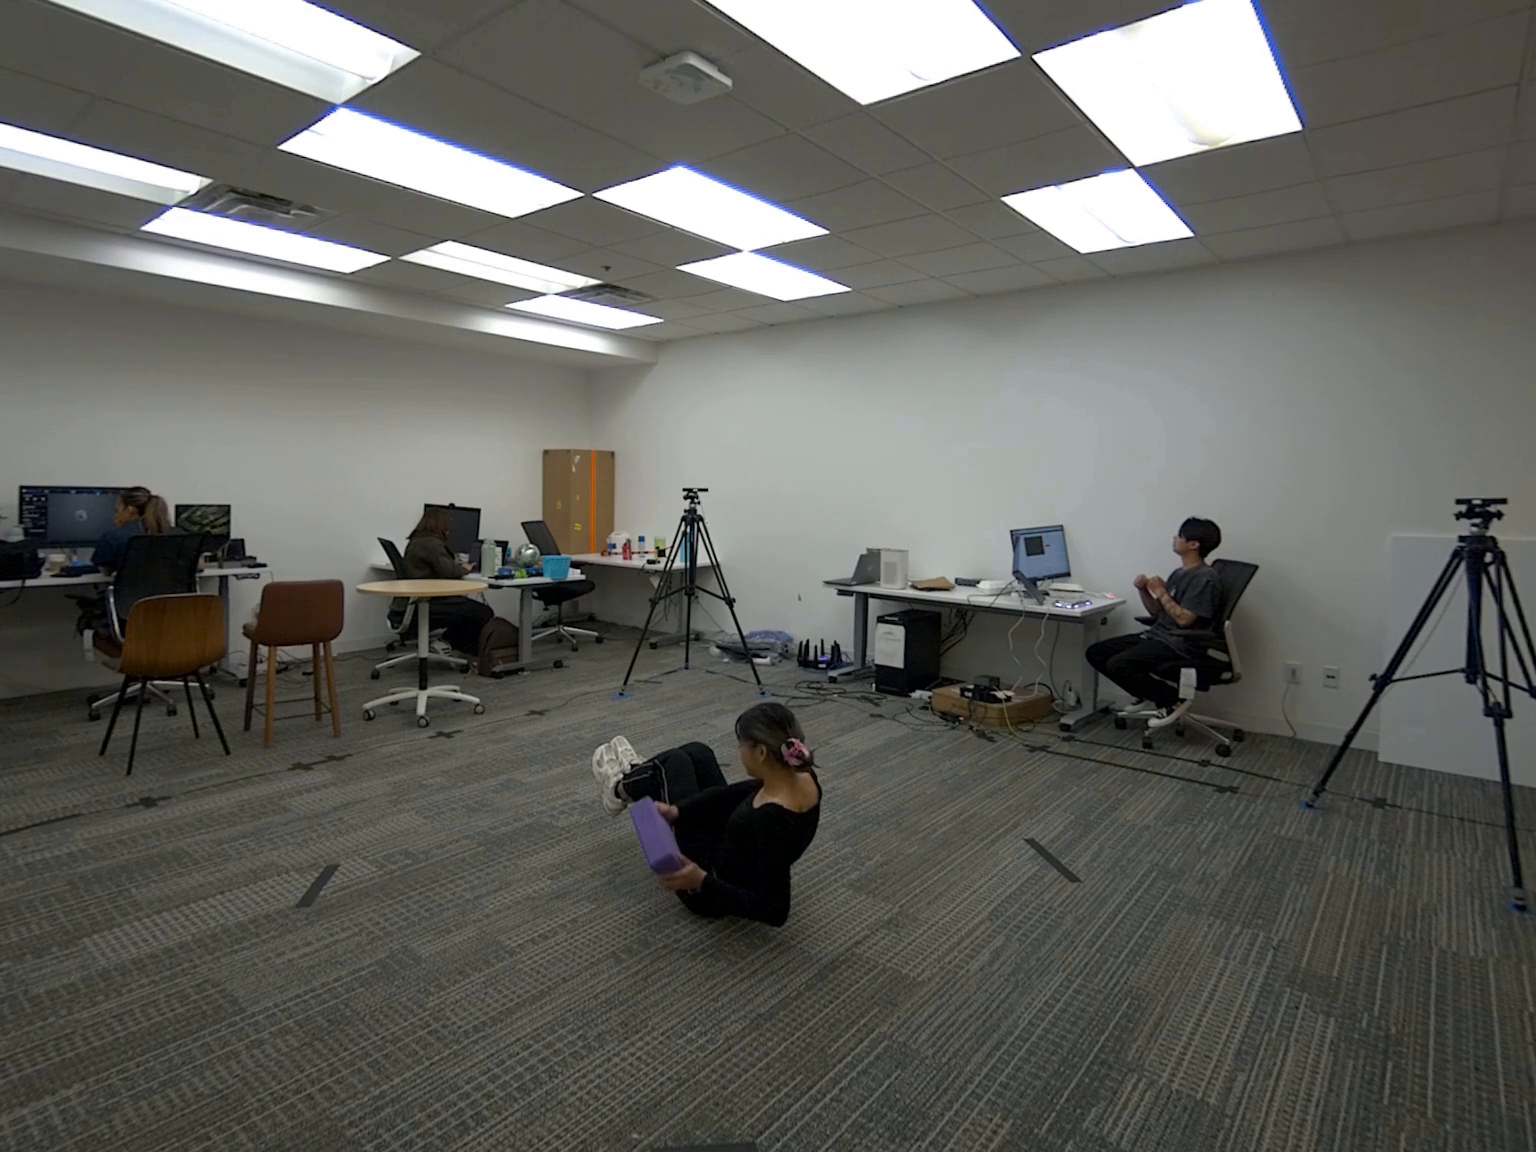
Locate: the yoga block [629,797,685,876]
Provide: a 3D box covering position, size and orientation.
[{"bbox_3d":[-0.314,0.806,2.594,0.076,0.143,0.238,-29,39,-2],"label":"yoga block"}]
